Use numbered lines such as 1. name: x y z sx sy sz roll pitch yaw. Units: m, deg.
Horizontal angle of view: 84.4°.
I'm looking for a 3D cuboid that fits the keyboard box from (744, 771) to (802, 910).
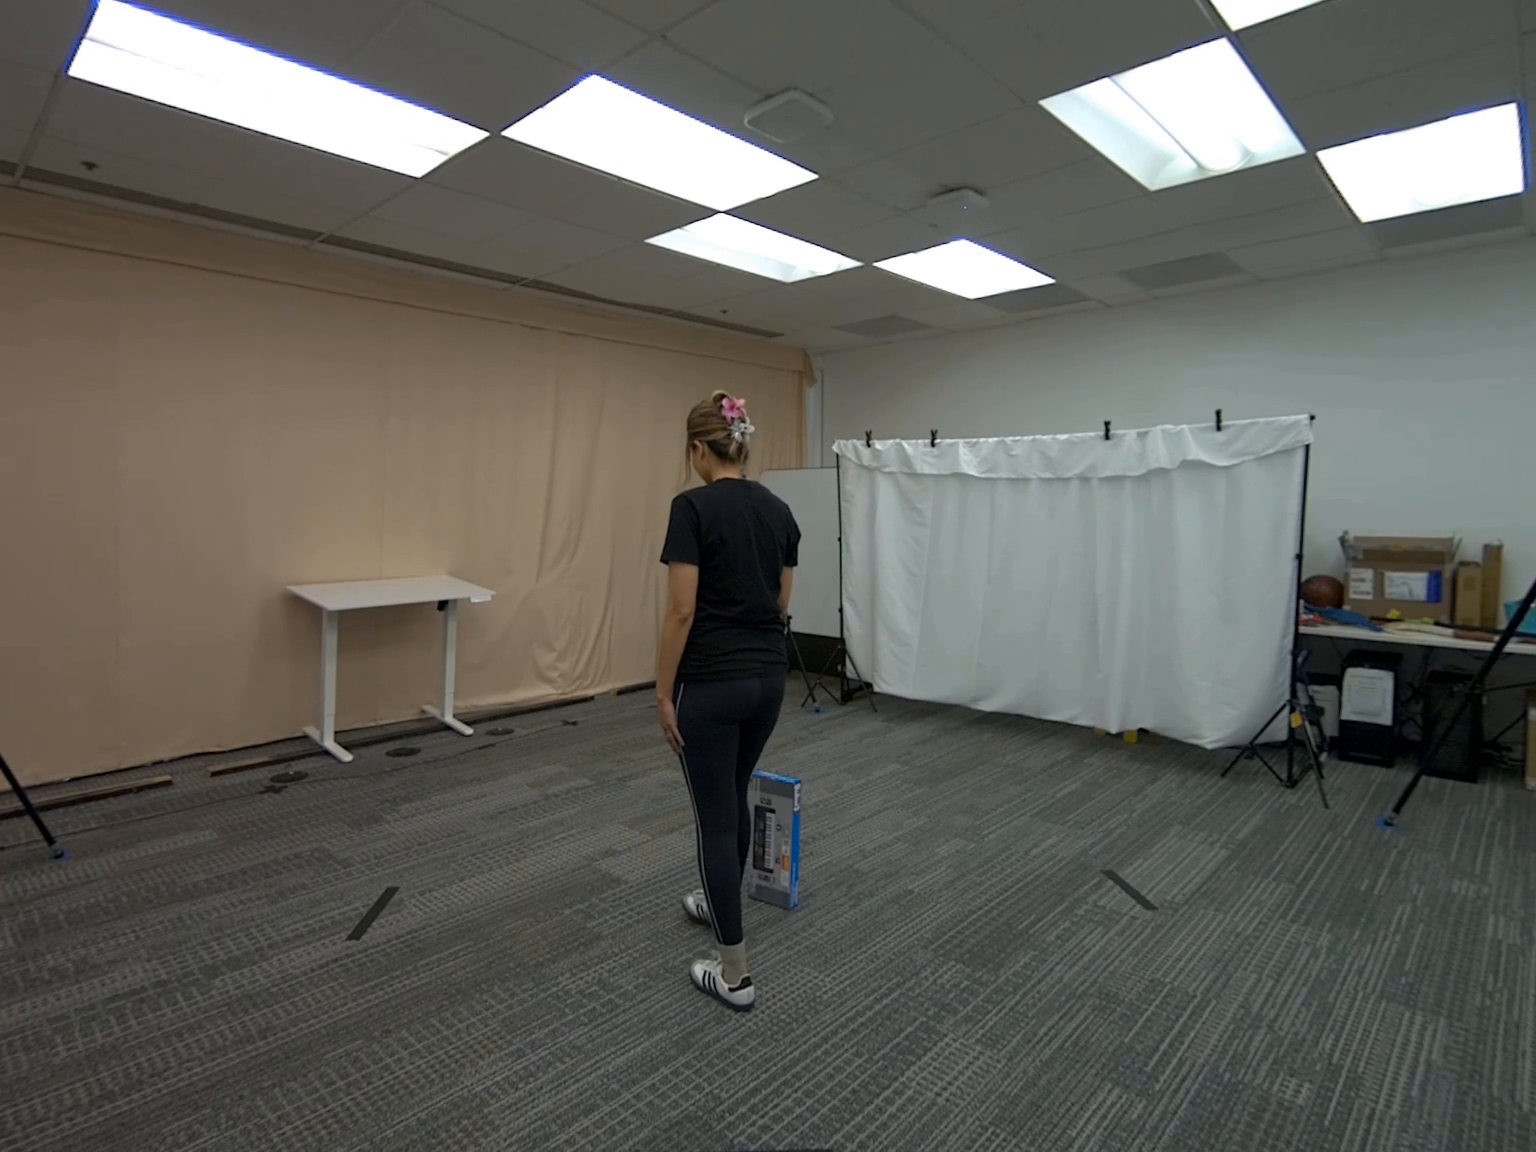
1. keyboard box: 0.027 0.926 2.964 0.181 0.437 0.057 2 0 32
